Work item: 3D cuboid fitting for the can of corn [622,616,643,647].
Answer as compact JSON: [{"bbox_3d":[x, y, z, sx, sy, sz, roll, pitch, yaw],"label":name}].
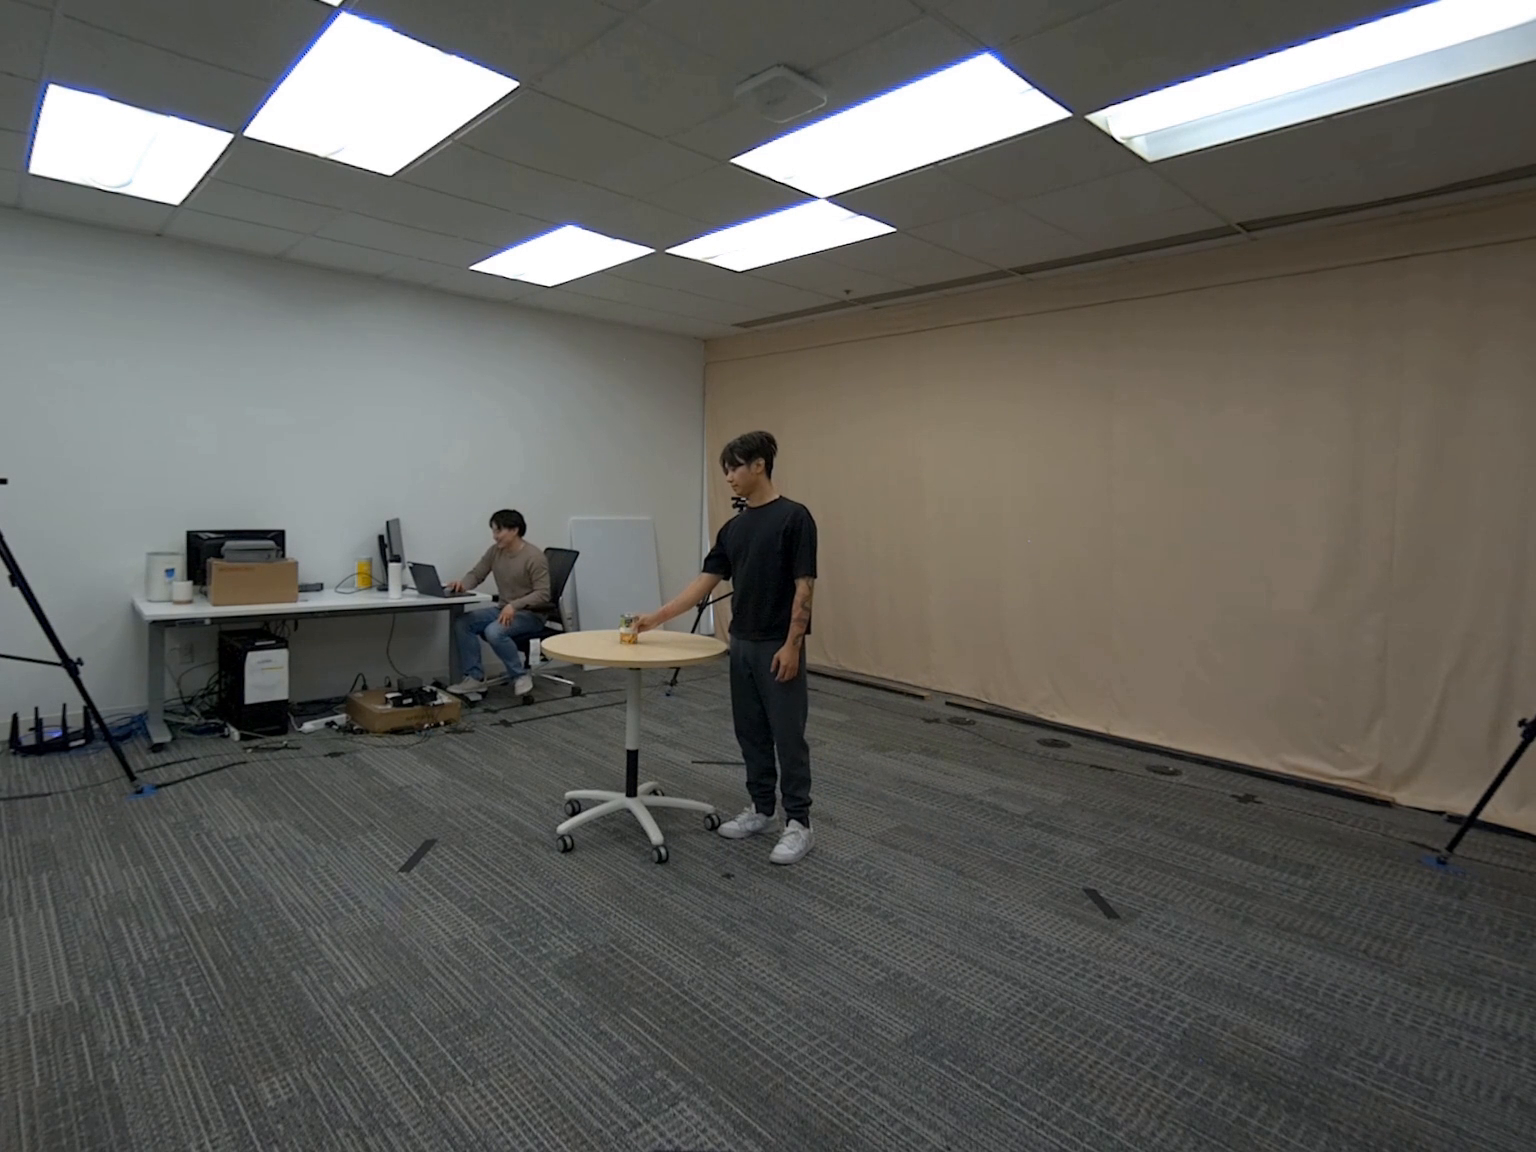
[{"bbox_3d":[-0.563,0.225,3.492,0.074,0.111,0.074,0,4,-1],"label":"can of corn"}]
